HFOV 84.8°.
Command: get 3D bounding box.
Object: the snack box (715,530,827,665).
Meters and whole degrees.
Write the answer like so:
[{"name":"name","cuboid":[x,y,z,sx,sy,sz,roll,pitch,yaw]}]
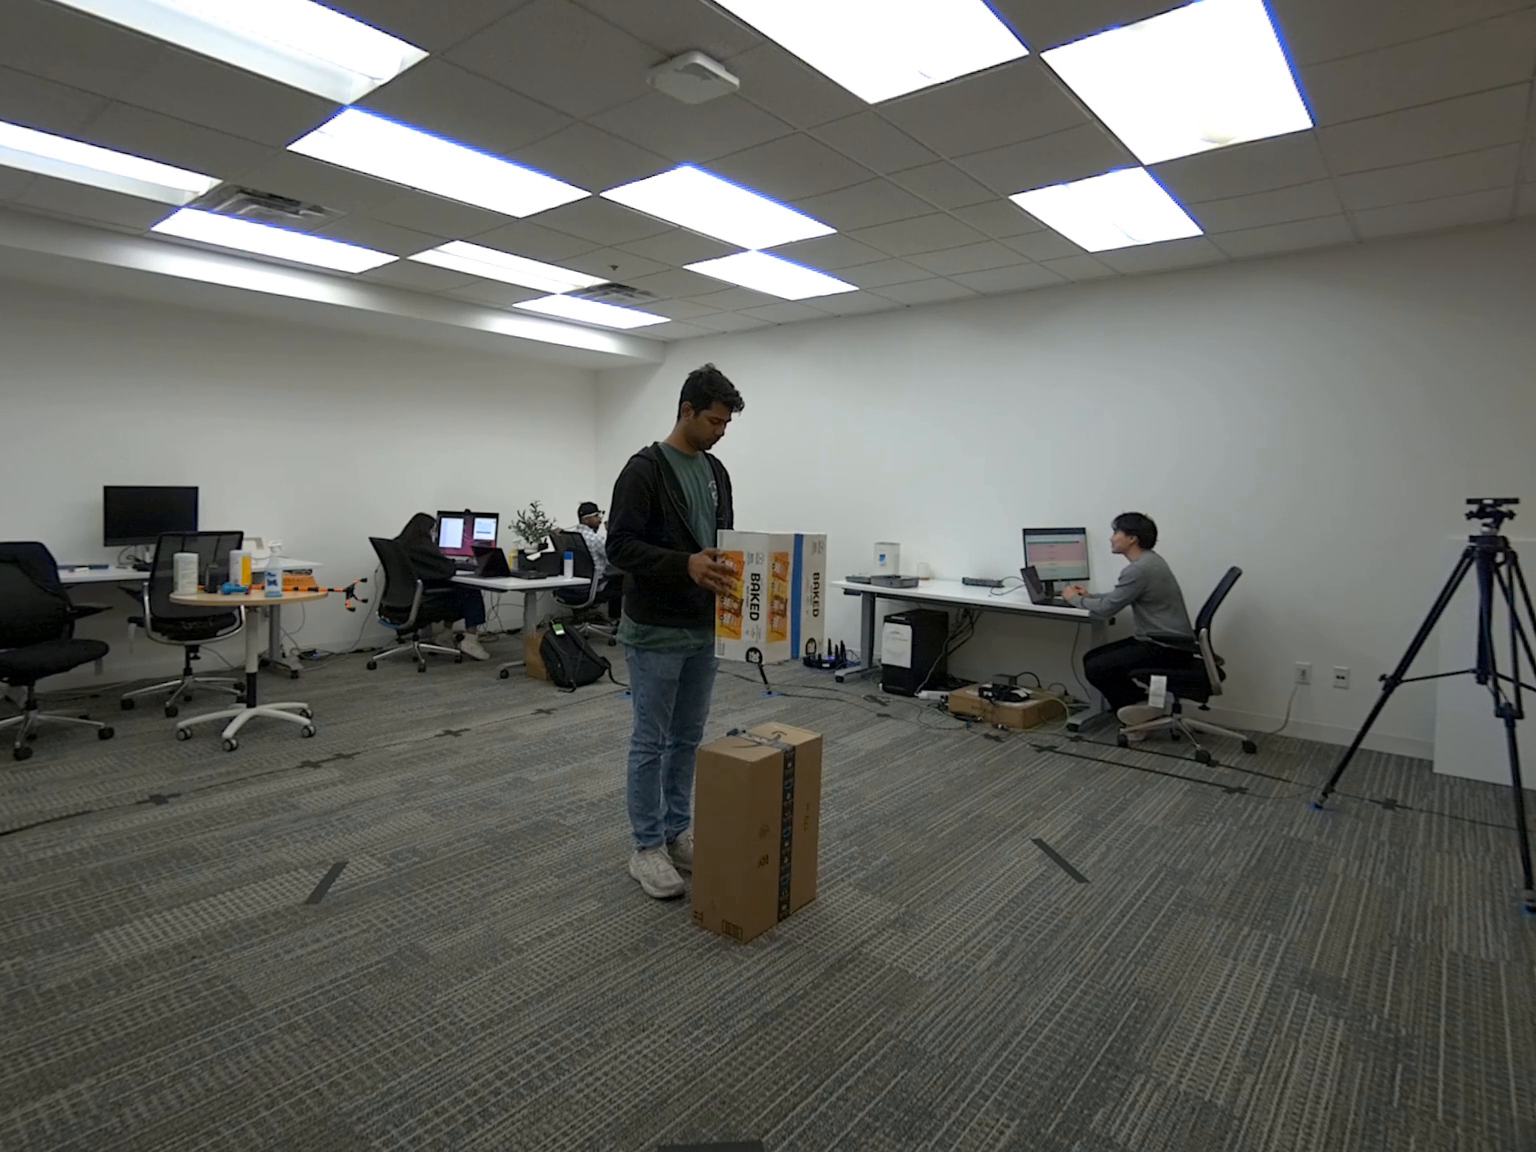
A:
[{"name":"snack box","cuboid":[-0.001,0.054,2.774,0.212,0.405,0.330,2,2,37]}]
